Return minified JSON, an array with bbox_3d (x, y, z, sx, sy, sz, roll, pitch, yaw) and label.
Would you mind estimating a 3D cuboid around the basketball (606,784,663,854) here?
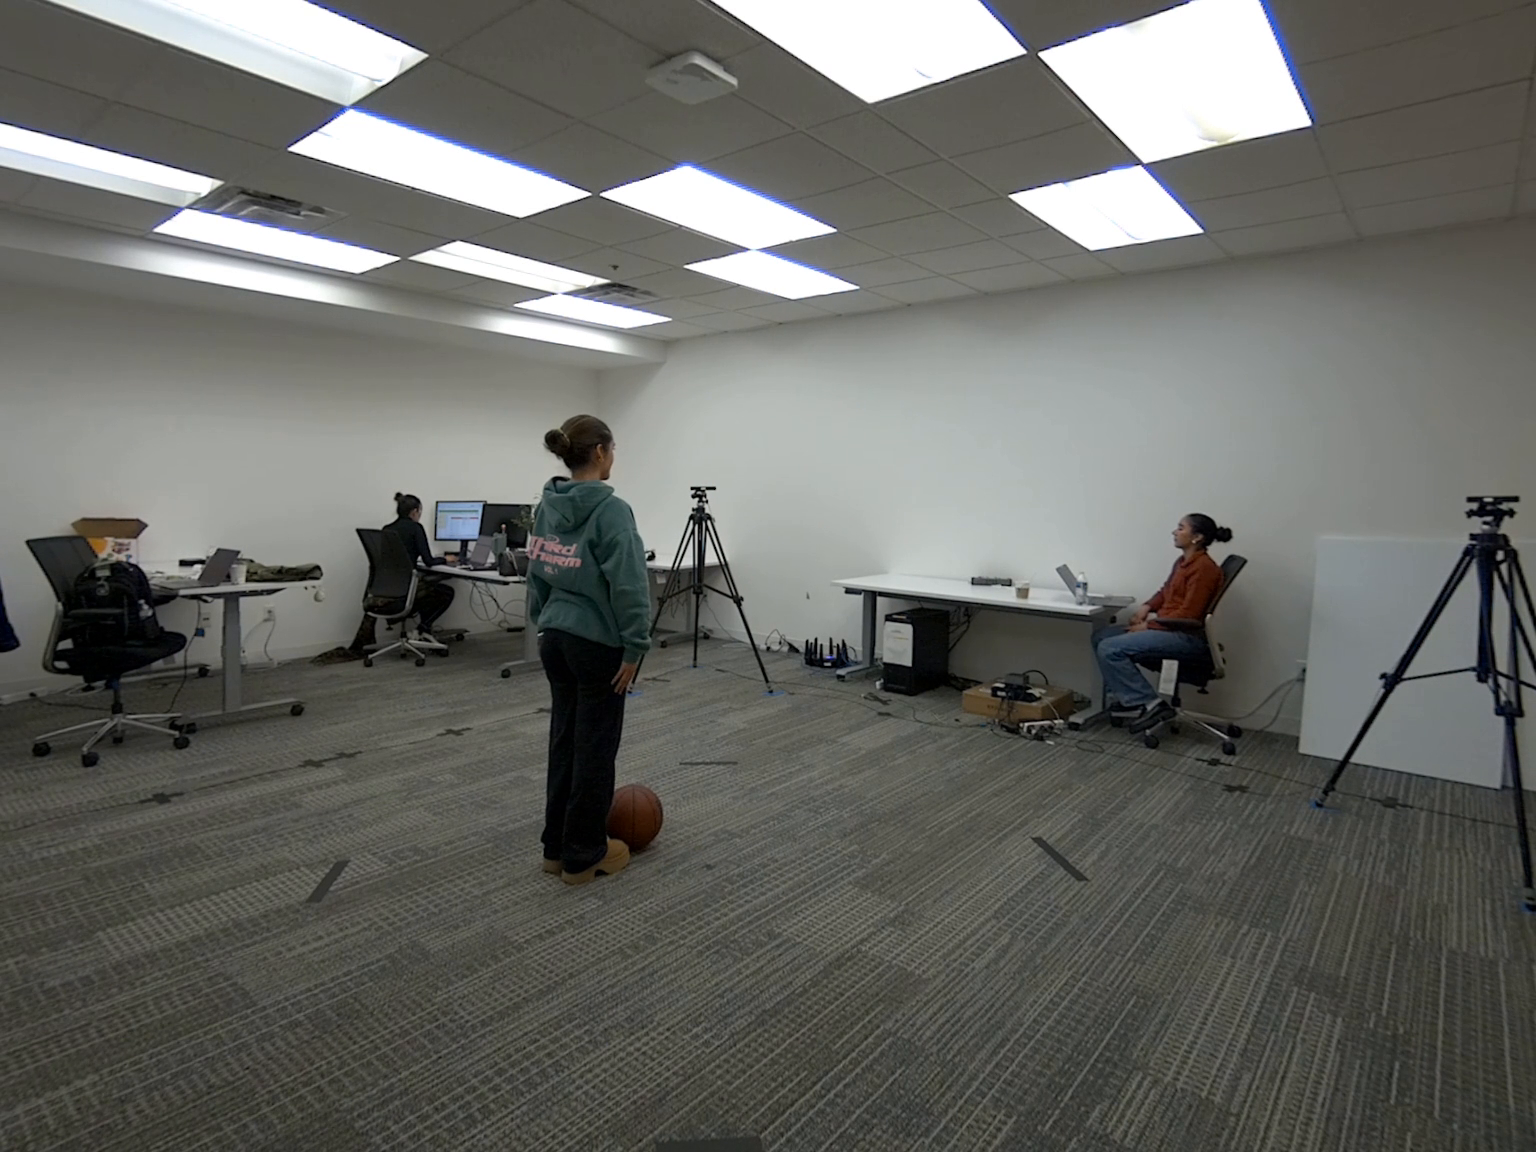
[{"bbox_3d":[-0.534,0.925,3.288,0.235,0.235,0.237,1,4,-2],"label":"basketball"}]
